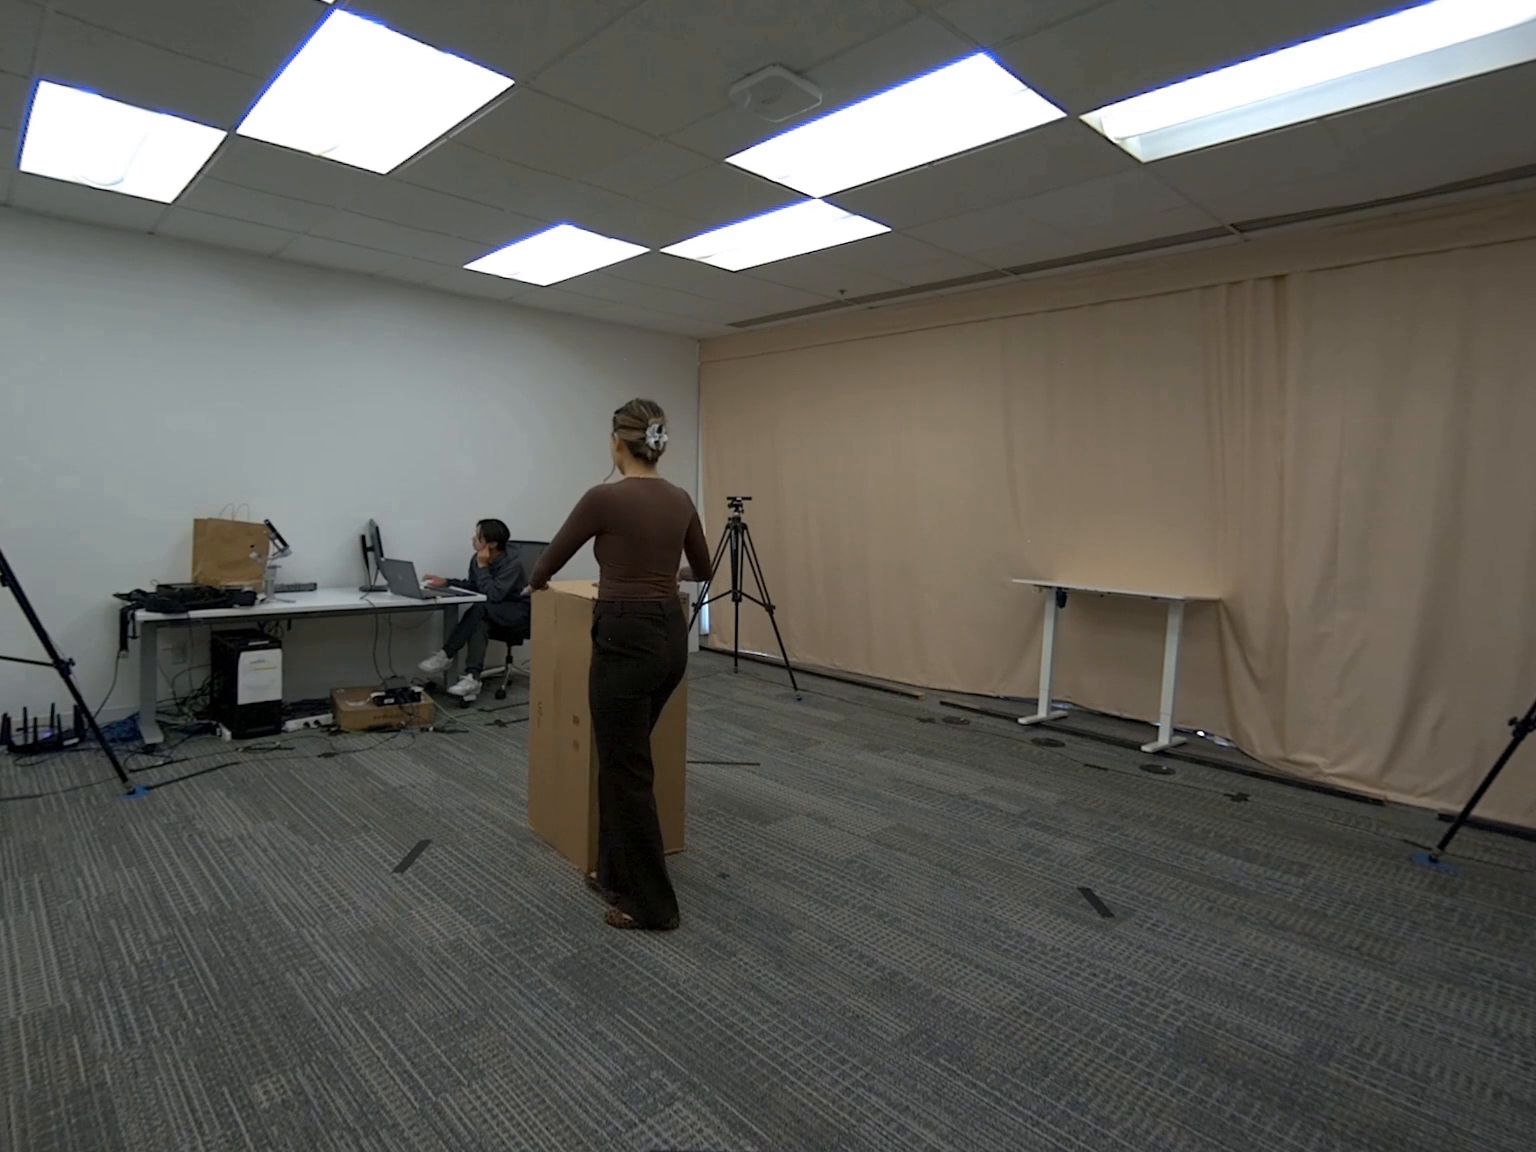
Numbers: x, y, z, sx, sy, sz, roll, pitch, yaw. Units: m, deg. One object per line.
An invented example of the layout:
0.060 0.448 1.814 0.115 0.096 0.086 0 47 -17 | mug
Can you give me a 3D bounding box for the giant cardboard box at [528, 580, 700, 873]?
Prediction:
-0.661 0.559 3.408 0.437 1.025 0.598 0 4 -36 | giant cardboard box
